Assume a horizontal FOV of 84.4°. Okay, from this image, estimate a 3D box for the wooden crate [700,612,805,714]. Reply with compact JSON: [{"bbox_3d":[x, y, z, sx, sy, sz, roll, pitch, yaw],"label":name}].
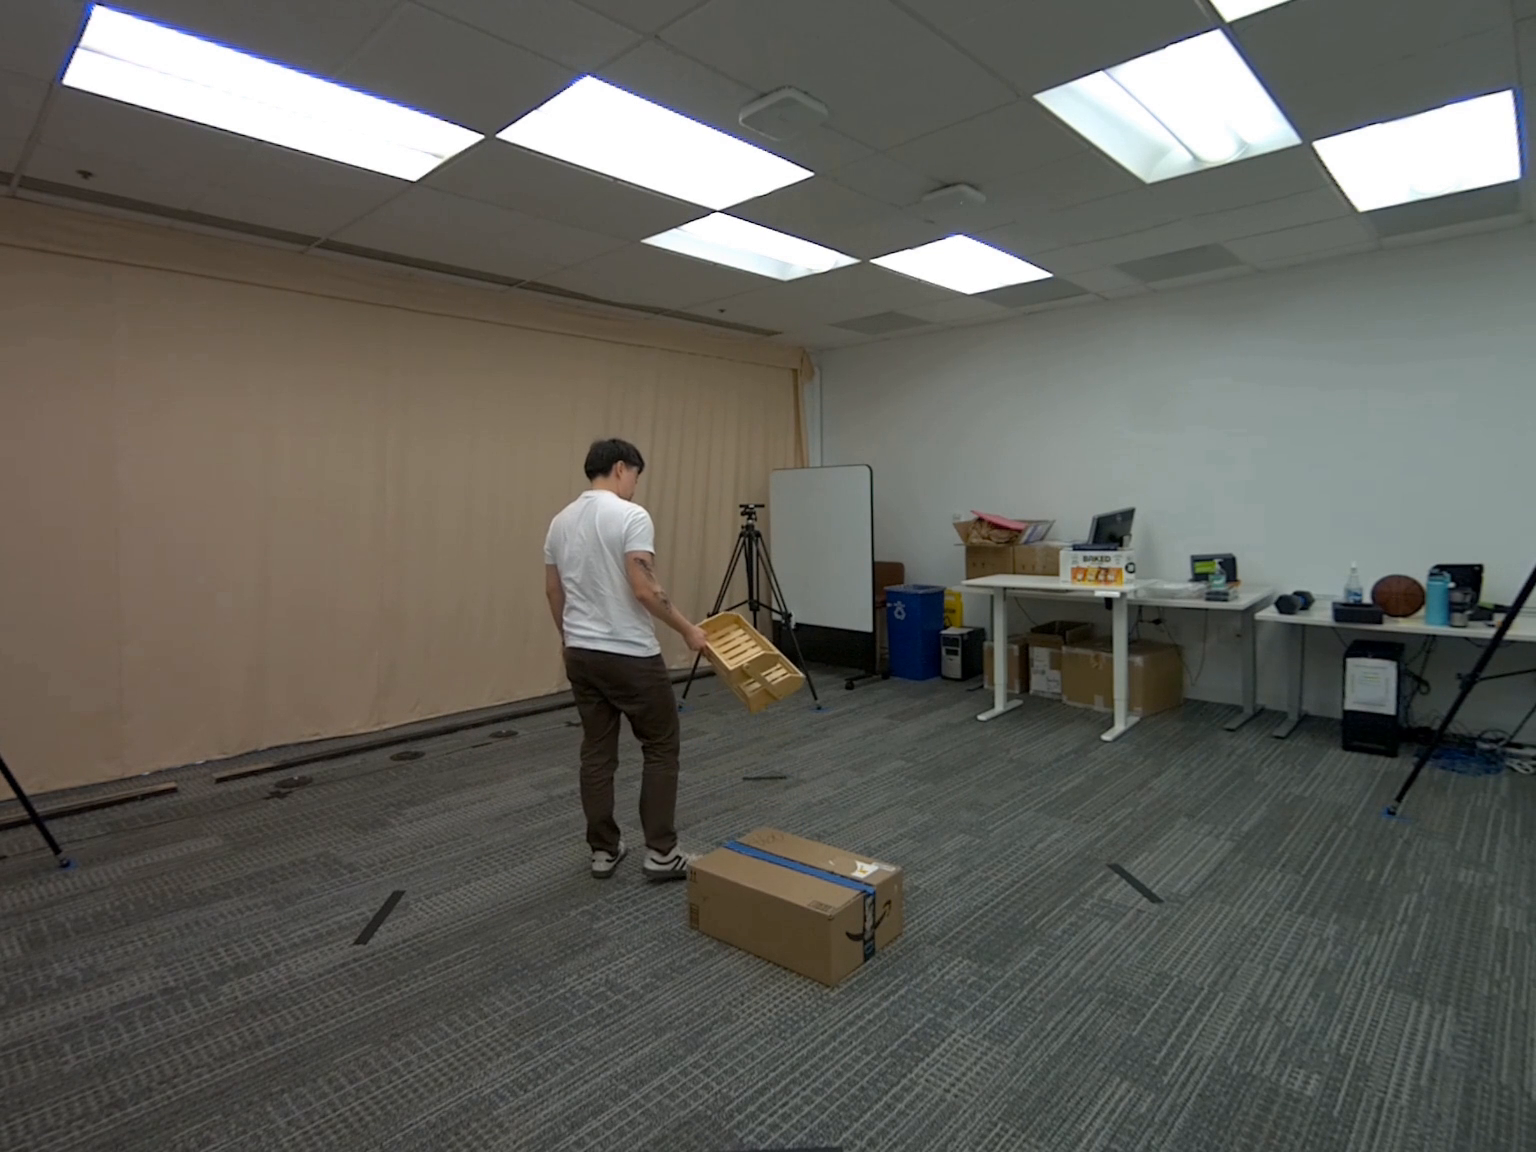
[{"bbox_3d":[-0.065,0.308,3.233,0.298,0.267,0.336,-25,38,-19],"label":"wooden crate"}]
